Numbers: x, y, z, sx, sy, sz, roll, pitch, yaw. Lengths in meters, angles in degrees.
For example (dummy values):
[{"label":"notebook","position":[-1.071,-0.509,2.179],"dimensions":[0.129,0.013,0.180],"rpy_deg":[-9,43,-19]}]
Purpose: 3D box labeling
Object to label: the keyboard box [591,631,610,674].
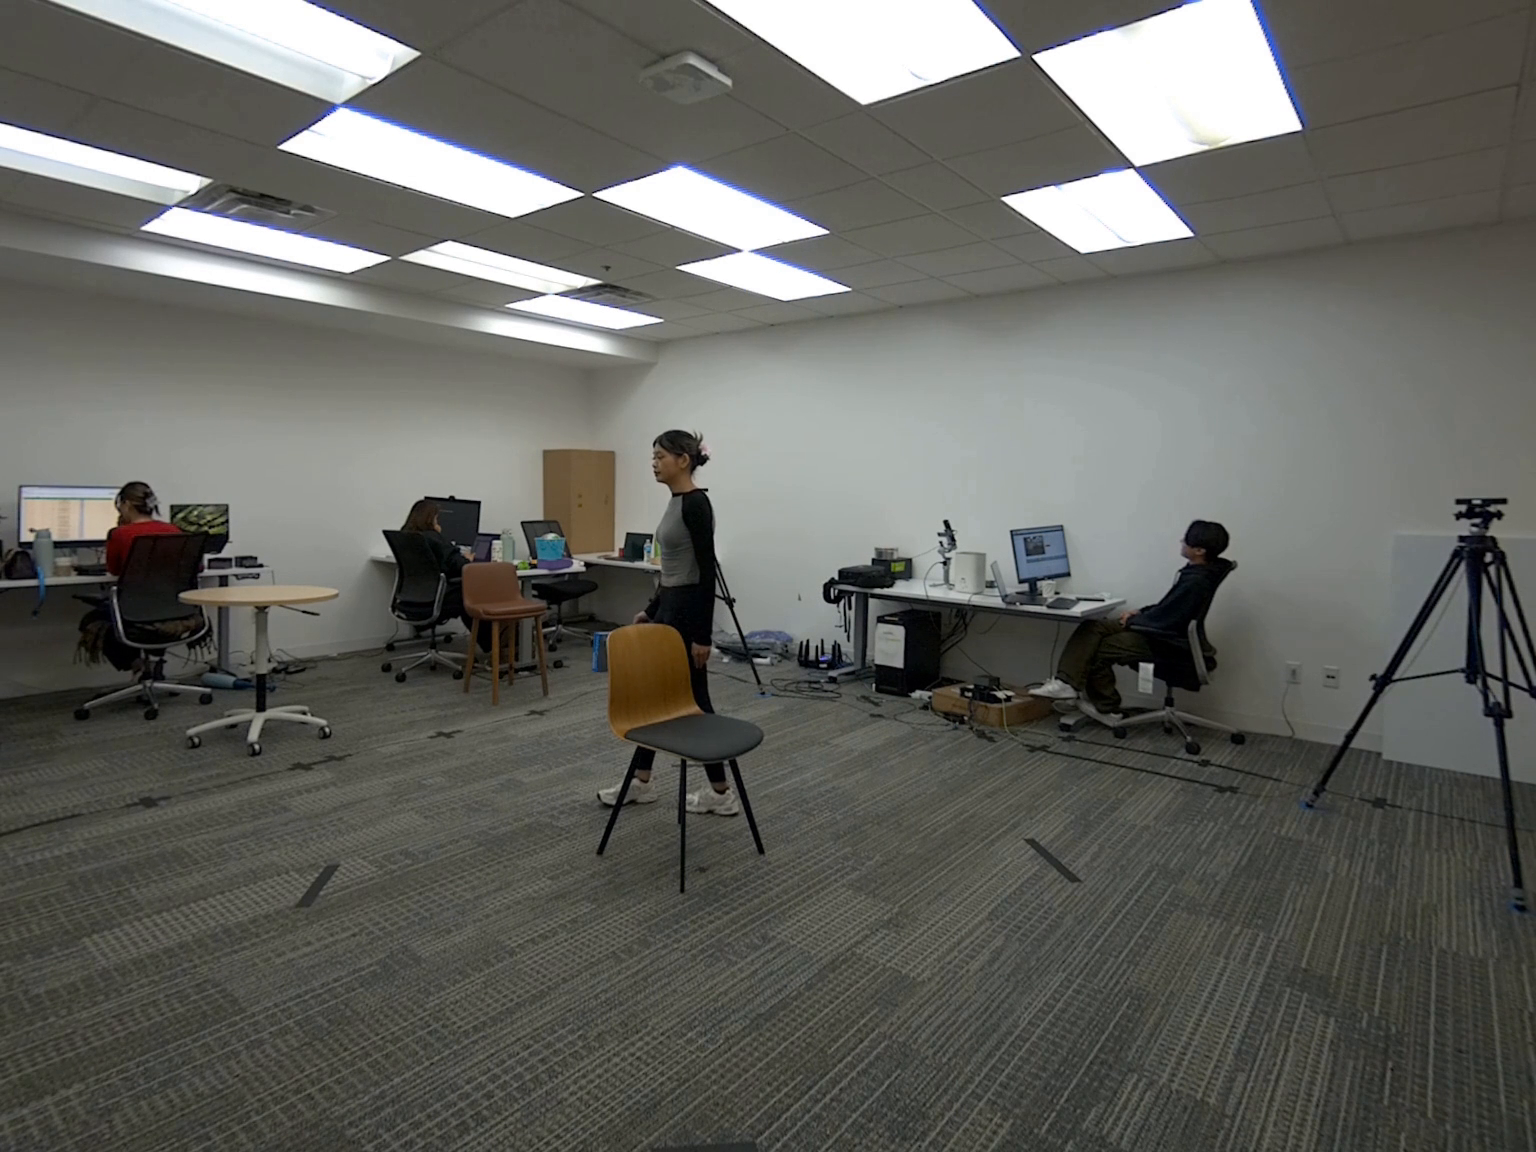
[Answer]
[{"label":"keyboard box","position":[-0.589,0.336,3.854],"dimensions":[0.424,0.176,0.061],"rpy_deg":[1,2,-35]}]
